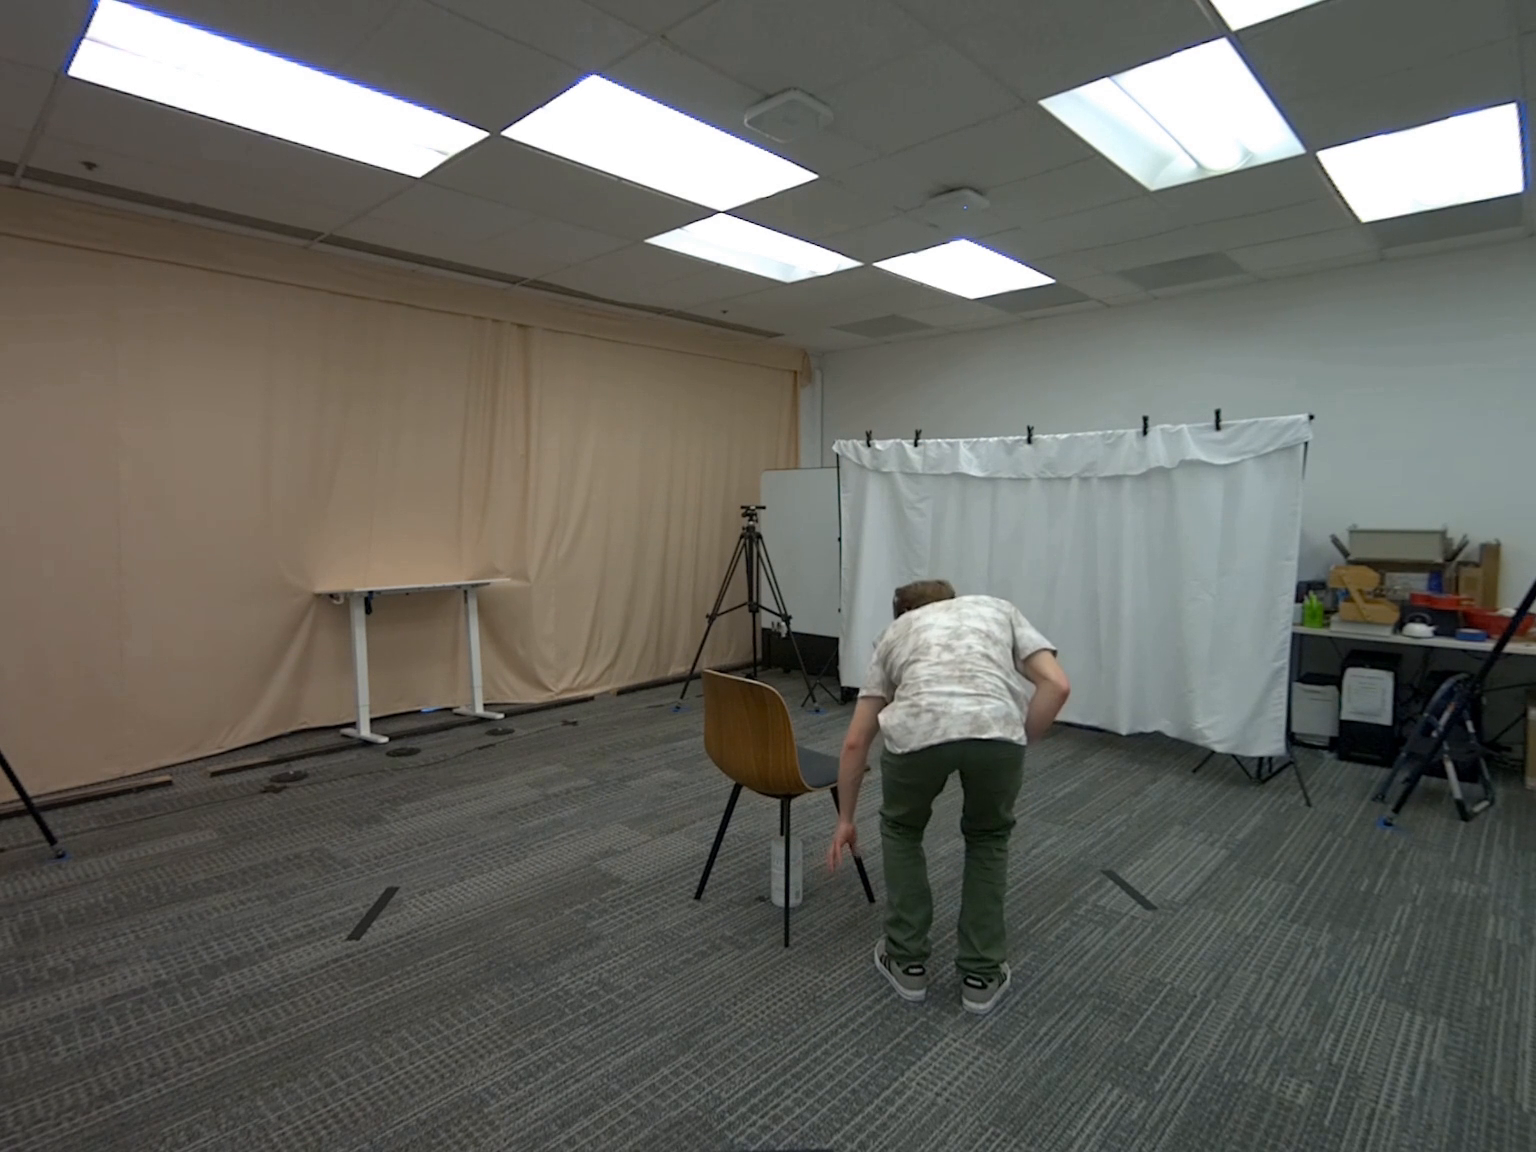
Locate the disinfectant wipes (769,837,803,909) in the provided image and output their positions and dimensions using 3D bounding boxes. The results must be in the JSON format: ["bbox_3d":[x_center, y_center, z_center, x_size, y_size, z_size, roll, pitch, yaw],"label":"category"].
[{"bbox_3d":[0.073,1.049,2.951,0.118,0.217,0.118,-4,4,-2],"label":"disinfectant wipes"}]
